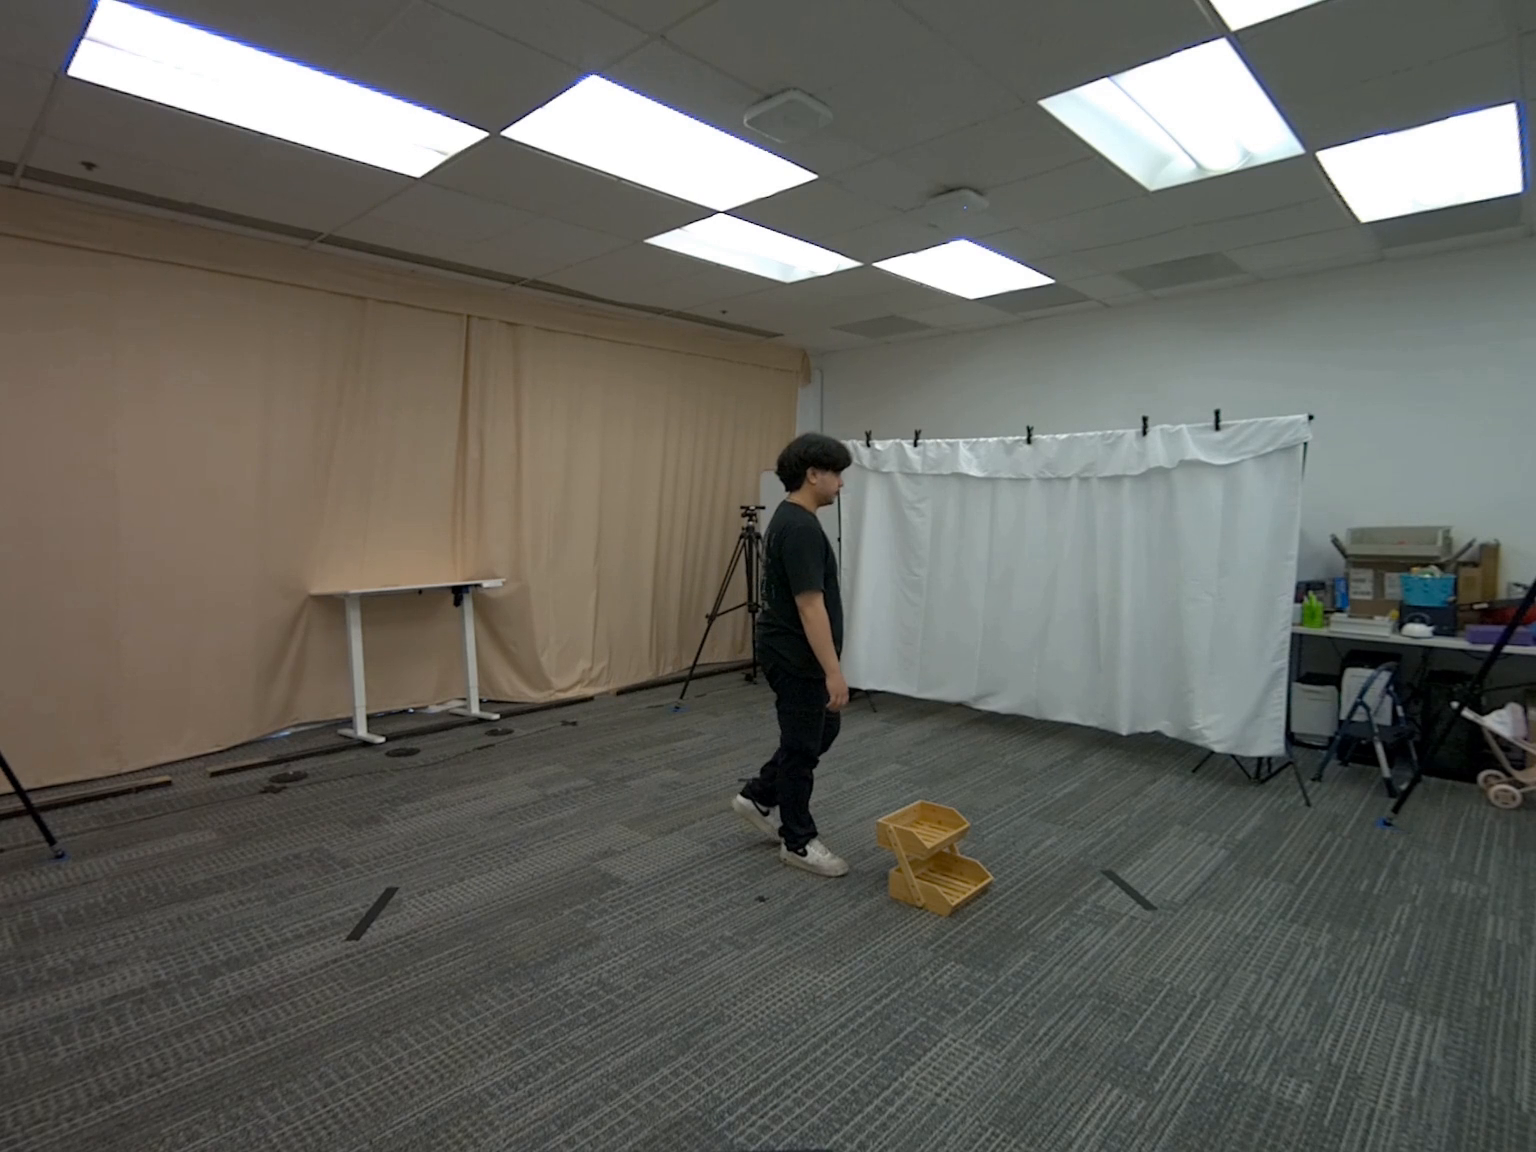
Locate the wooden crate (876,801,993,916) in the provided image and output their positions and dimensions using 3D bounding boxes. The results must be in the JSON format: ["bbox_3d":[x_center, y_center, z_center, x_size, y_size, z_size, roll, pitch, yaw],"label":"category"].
[{"bbox_3d":[0.614,1.006,3.029,0.312,0.273,0.314,3,4,42],"label":"wooden crate"}]
